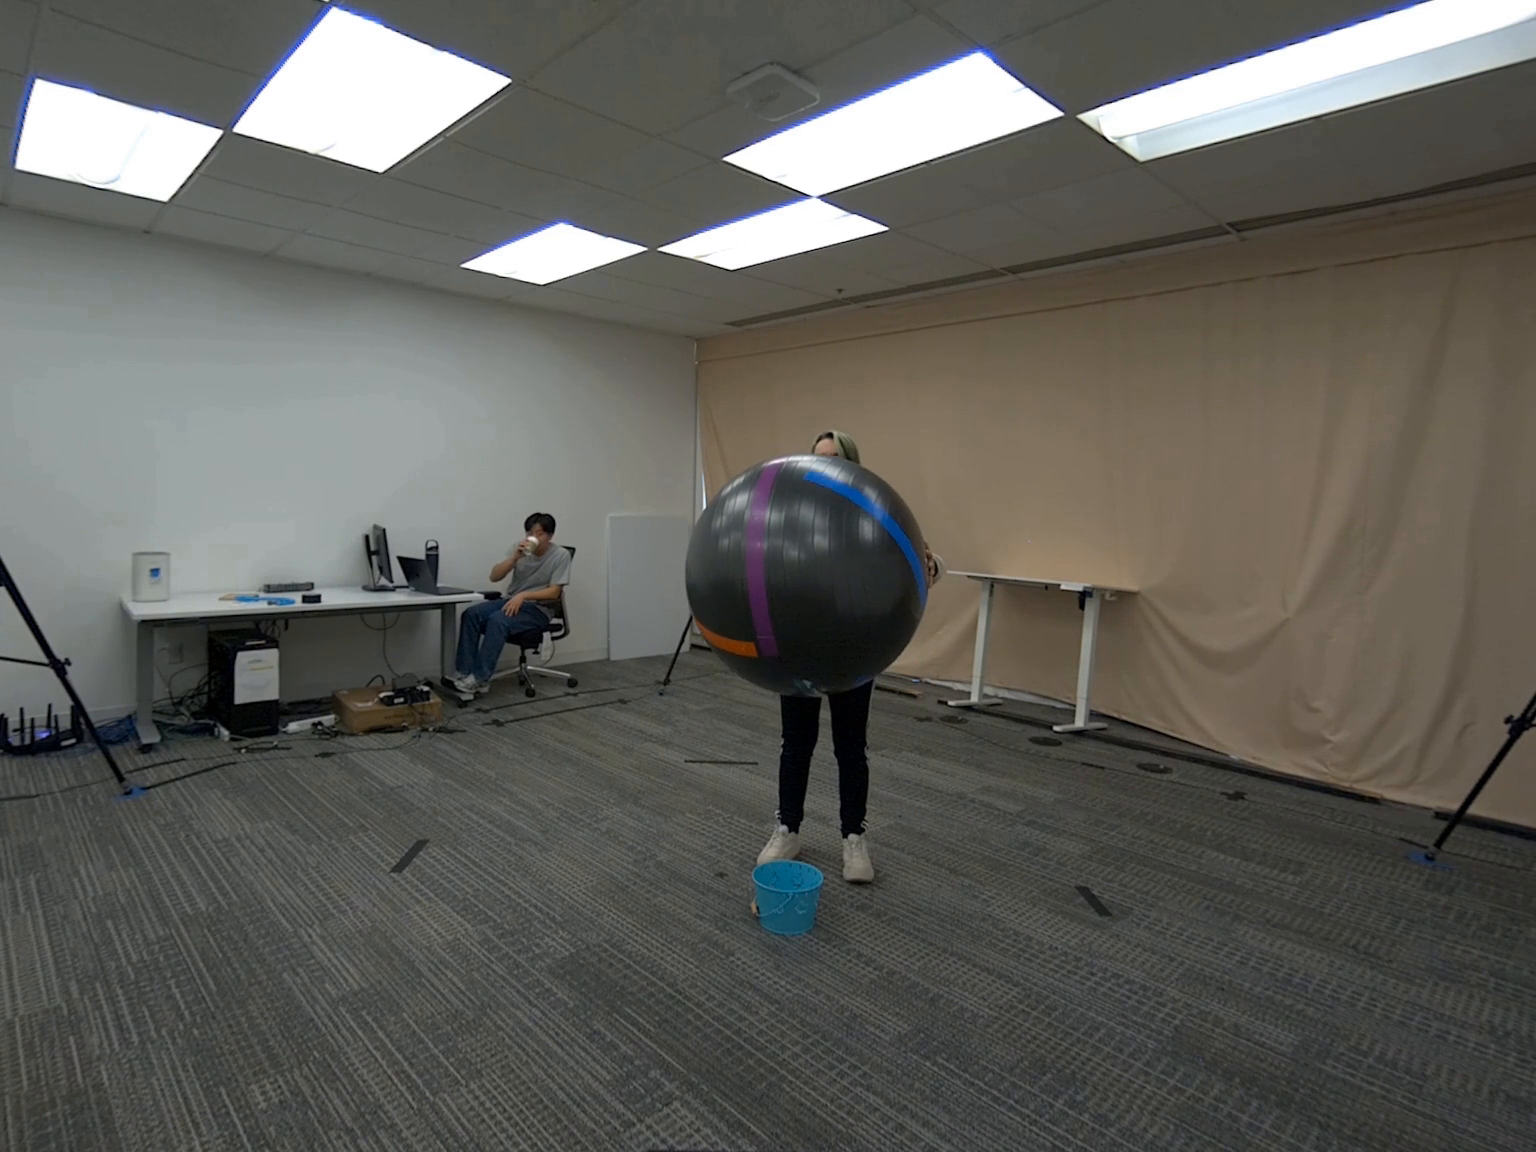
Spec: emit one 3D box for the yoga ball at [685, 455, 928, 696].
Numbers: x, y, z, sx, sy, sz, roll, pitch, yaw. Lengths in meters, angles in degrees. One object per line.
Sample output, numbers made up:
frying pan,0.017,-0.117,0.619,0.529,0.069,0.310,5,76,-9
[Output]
yoga ball,0.127,0.006,2.632,0.757,0.756,0.761,1,4,-1
